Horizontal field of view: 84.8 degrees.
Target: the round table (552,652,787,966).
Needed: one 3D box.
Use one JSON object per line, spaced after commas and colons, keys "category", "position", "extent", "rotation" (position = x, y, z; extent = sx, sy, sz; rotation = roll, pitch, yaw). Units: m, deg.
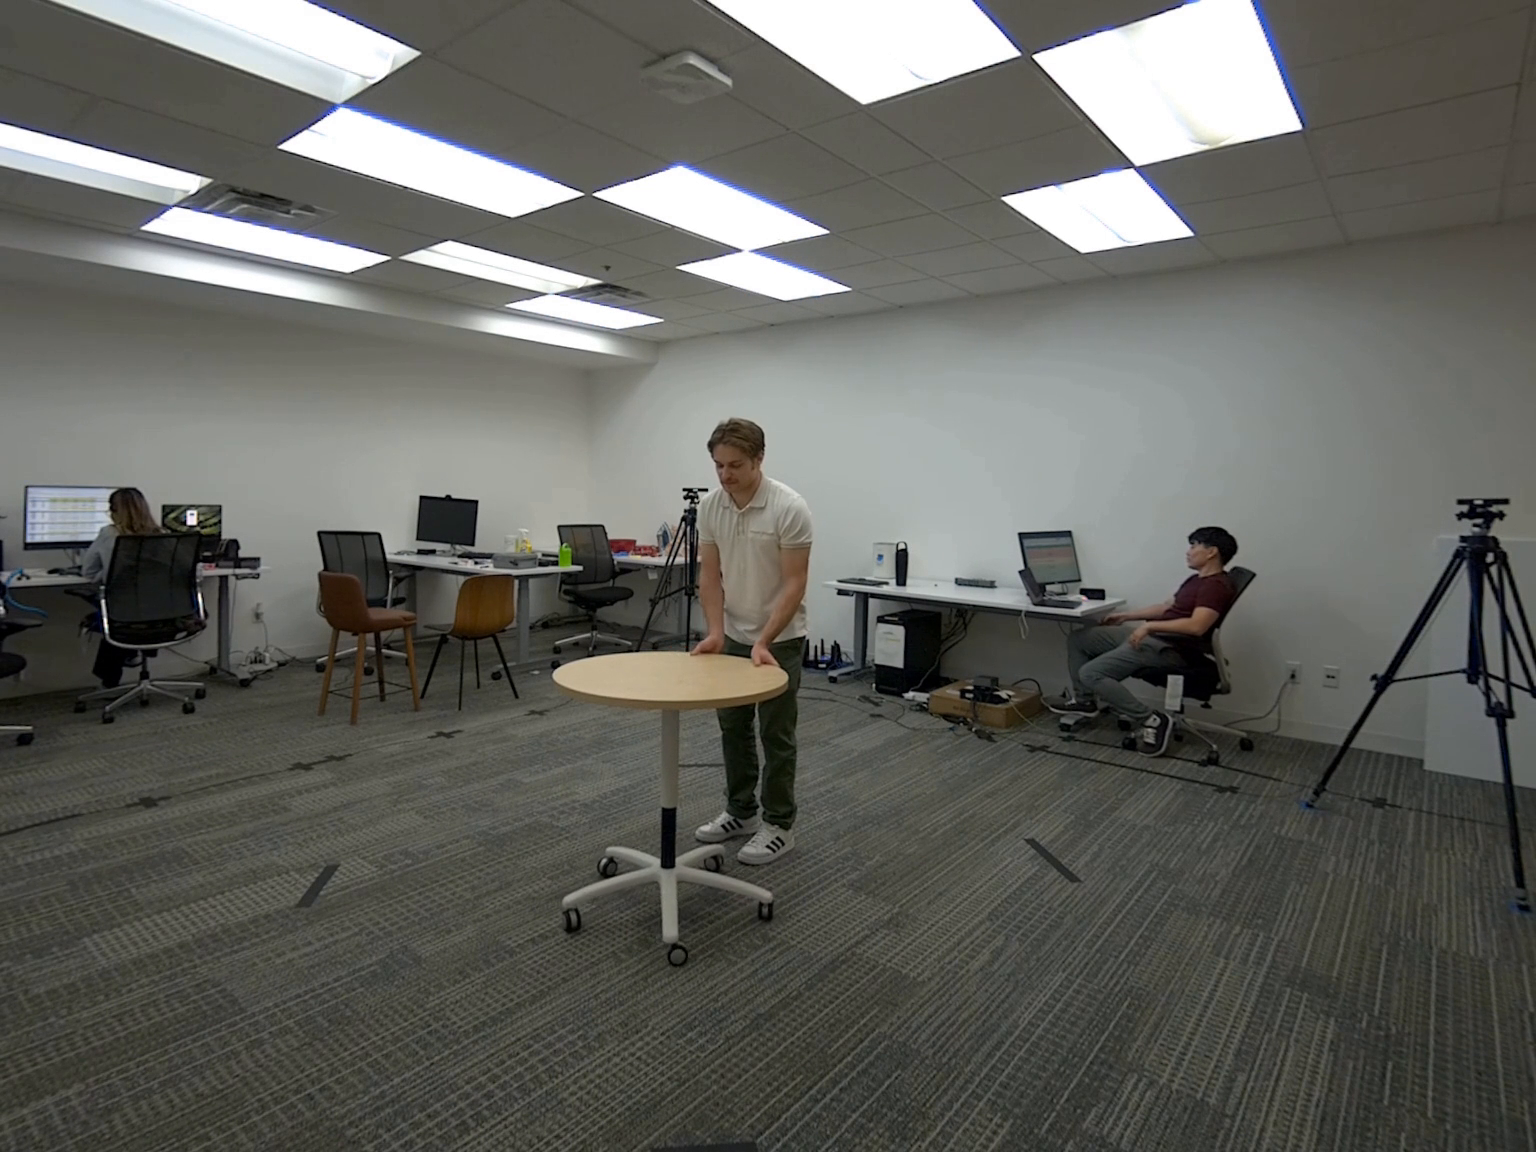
{"category": "round table", "position": [-0.334, 0.707, 2.796], "extent": [0.763, 0.792, 0.767], "rotation": [1, 3, -2]}
